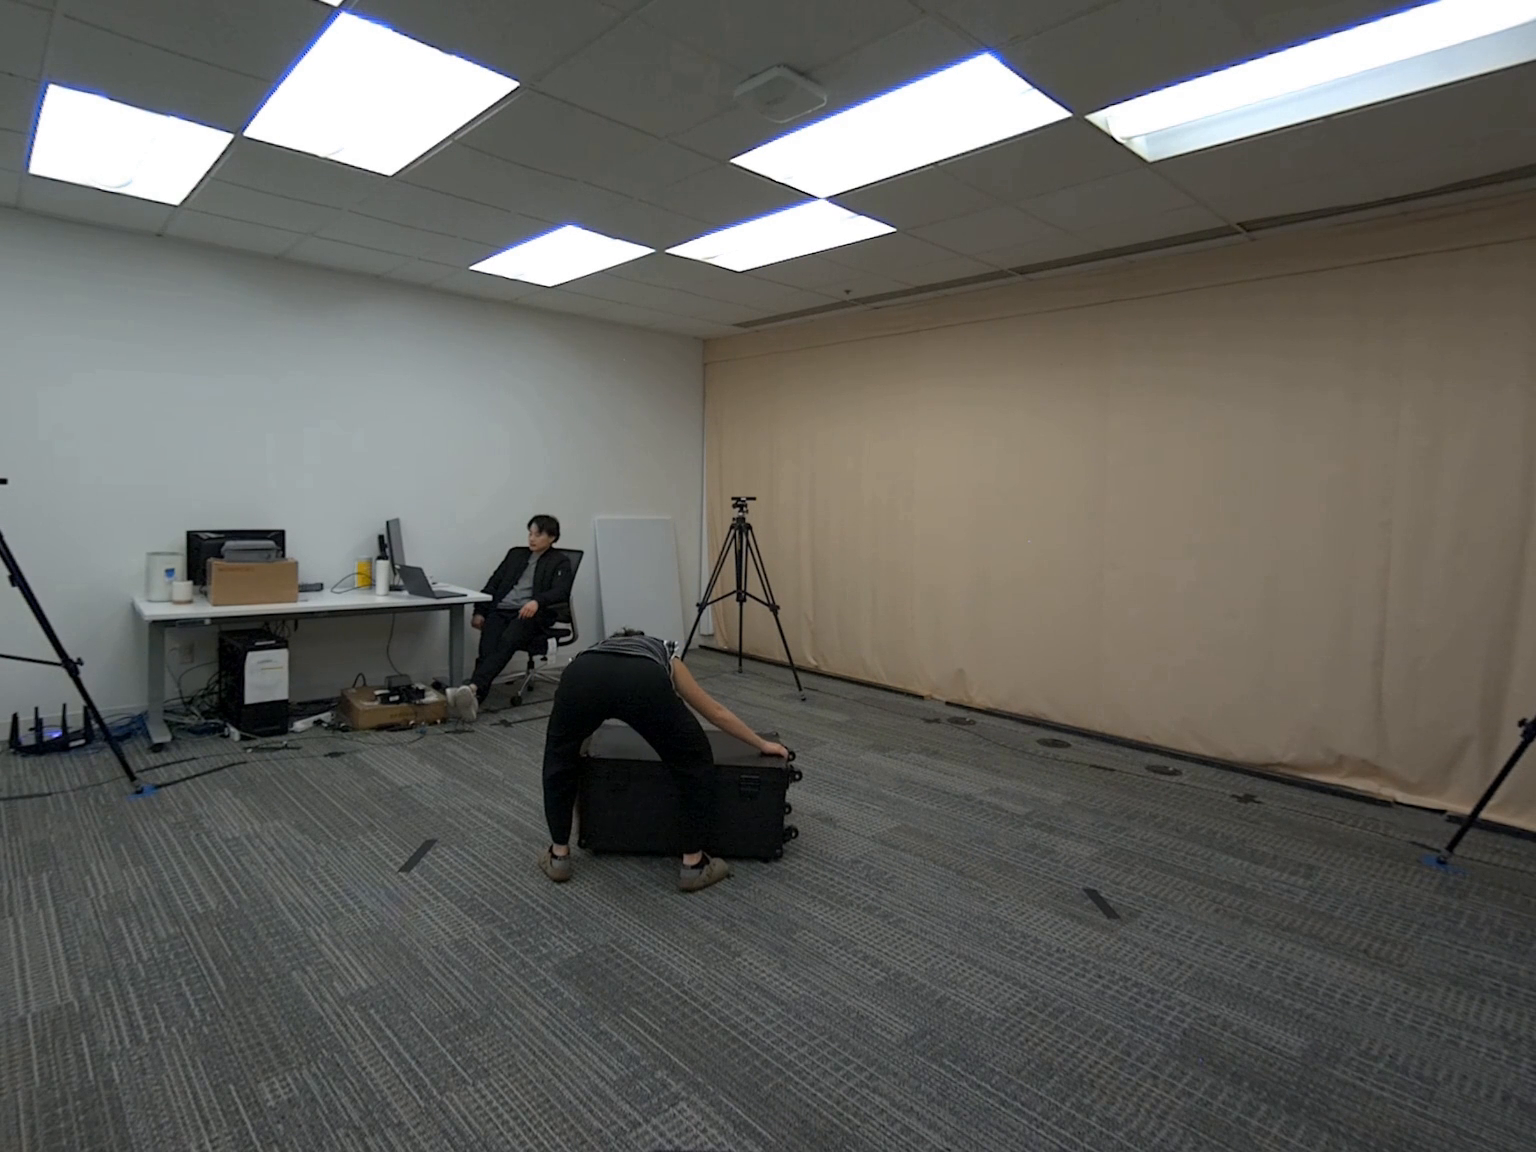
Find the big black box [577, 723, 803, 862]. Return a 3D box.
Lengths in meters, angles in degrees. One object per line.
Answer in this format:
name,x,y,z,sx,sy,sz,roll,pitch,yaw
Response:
big black box,-0.313,0.873,3.443,0.860,0.395,0.524,2,5,-2
